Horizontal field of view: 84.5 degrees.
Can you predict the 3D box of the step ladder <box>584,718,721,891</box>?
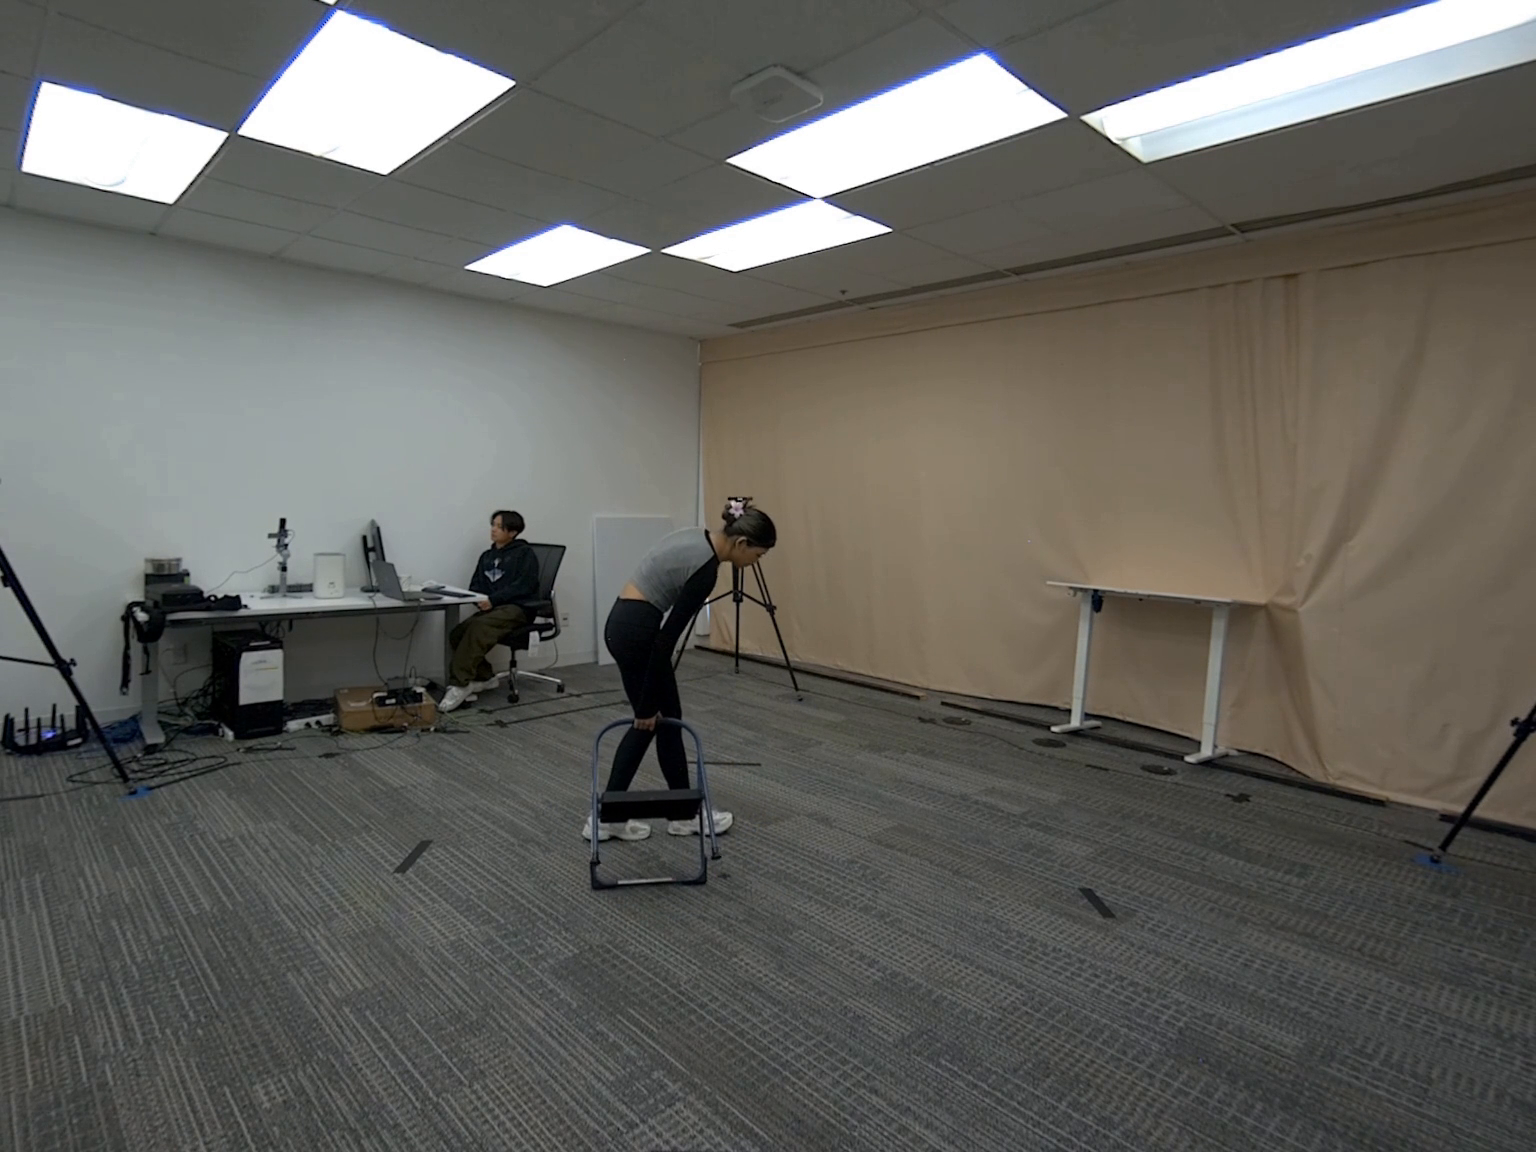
[{"bbox_3d":[-0.434,0.776,3.047,0.427,0.620,0.344,0,-36,-12],"label":"step ladder"}]
